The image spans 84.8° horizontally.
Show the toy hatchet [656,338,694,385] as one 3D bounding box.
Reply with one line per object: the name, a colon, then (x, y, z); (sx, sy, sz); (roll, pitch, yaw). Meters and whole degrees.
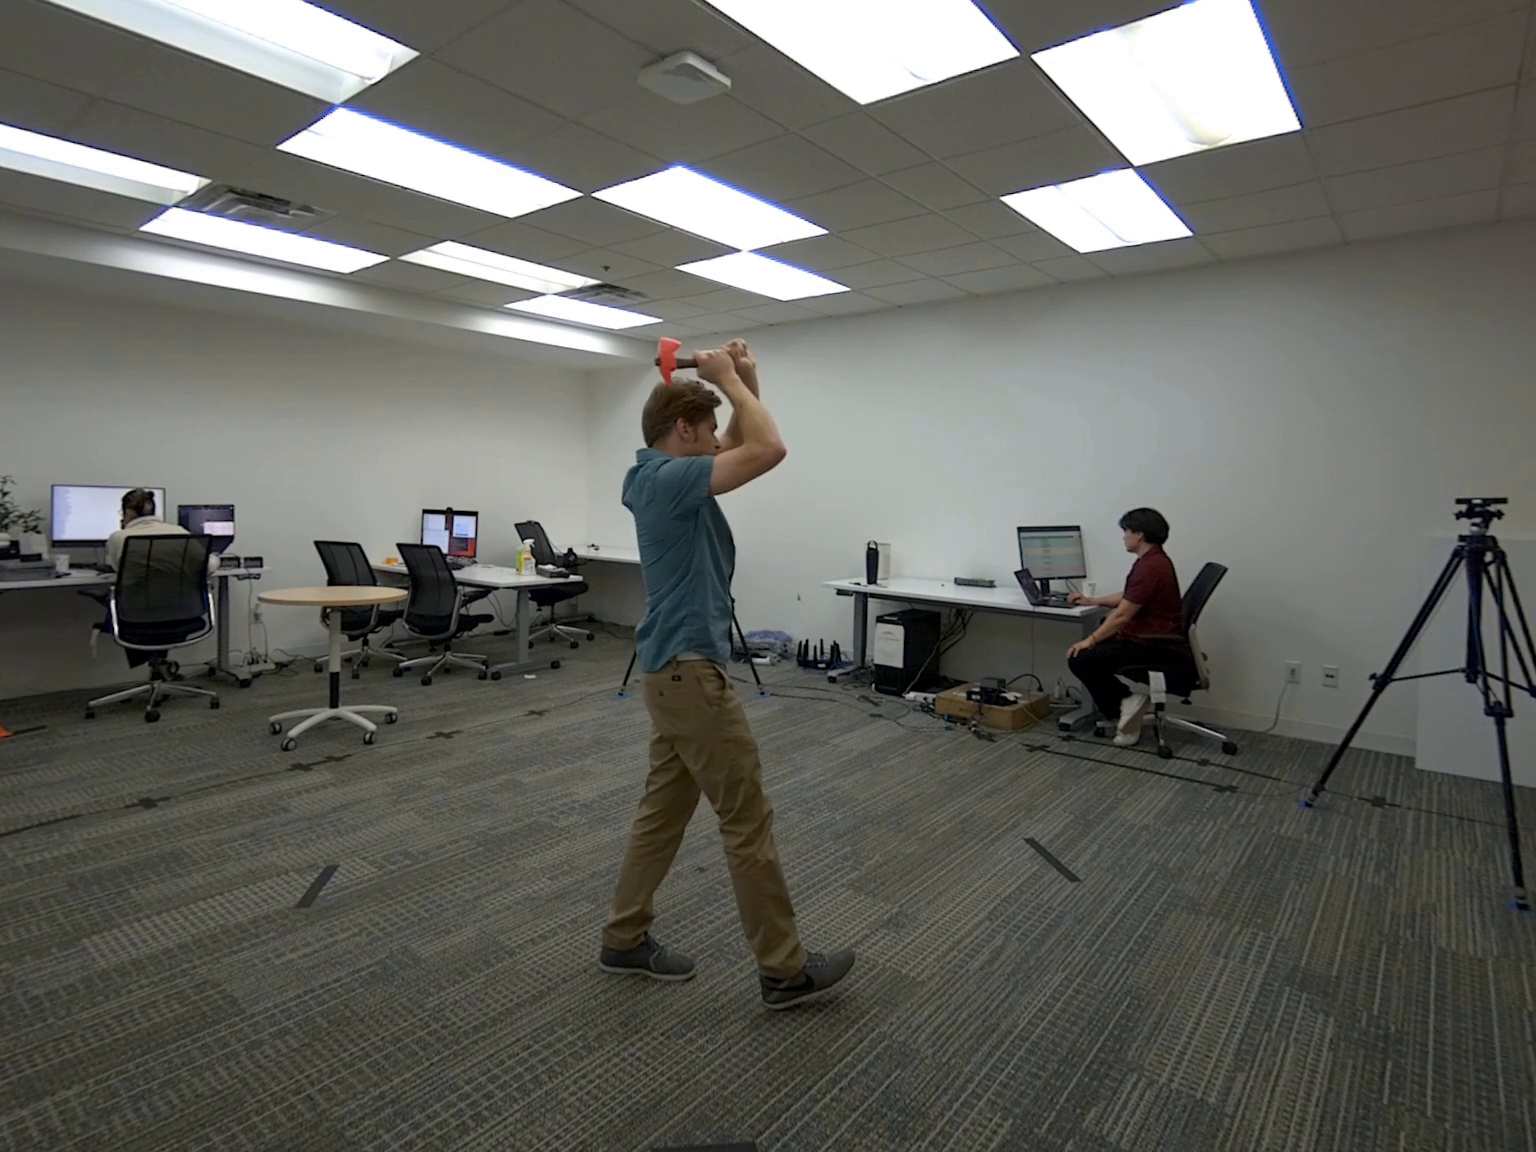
toy hatchet: (-0.193, -0.609, 2.295); (0.267, 0.131, 0.030); (-26, -2, -24)
